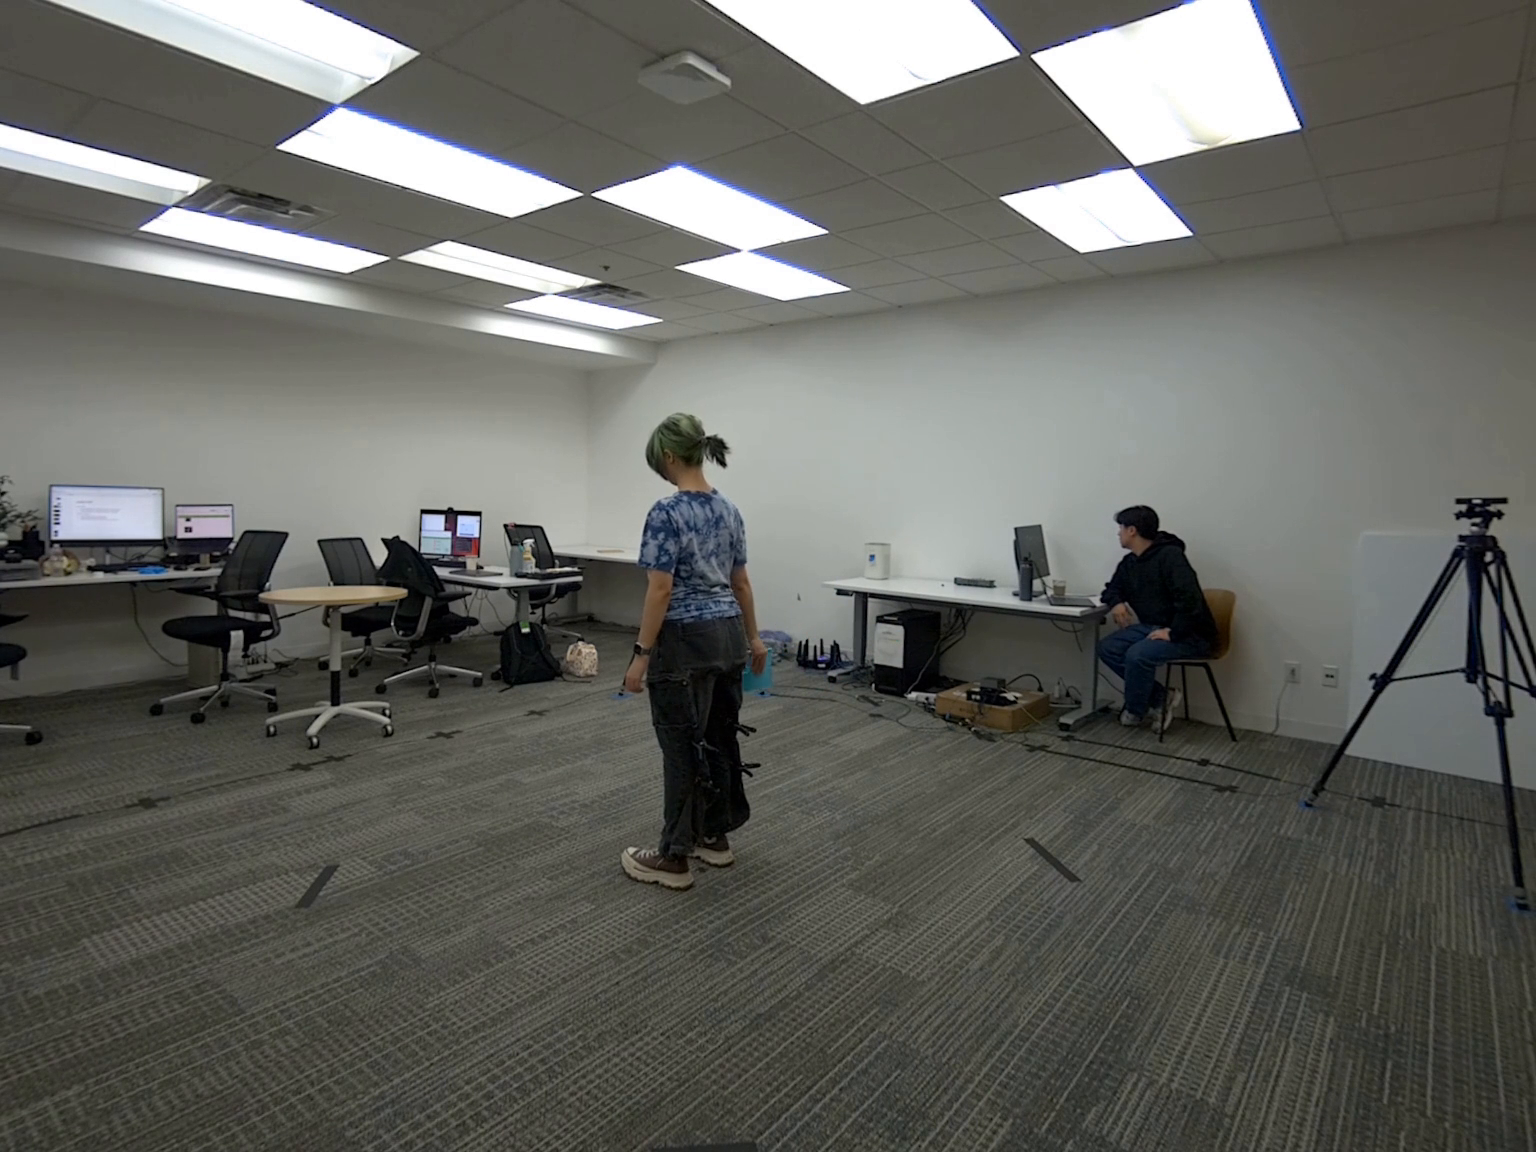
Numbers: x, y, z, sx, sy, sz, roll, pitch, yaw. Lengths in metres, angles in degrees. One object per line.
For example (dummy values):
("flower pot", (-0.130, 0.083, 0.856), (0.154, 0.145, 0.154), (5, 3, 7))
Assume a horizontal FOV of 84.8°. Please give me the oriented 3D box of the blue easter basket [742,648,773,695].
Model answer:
("blue easter basket", (-0.090, 0.368, 3.444), (0.243, 0.157, 0.243), (-7, -4, -2))
